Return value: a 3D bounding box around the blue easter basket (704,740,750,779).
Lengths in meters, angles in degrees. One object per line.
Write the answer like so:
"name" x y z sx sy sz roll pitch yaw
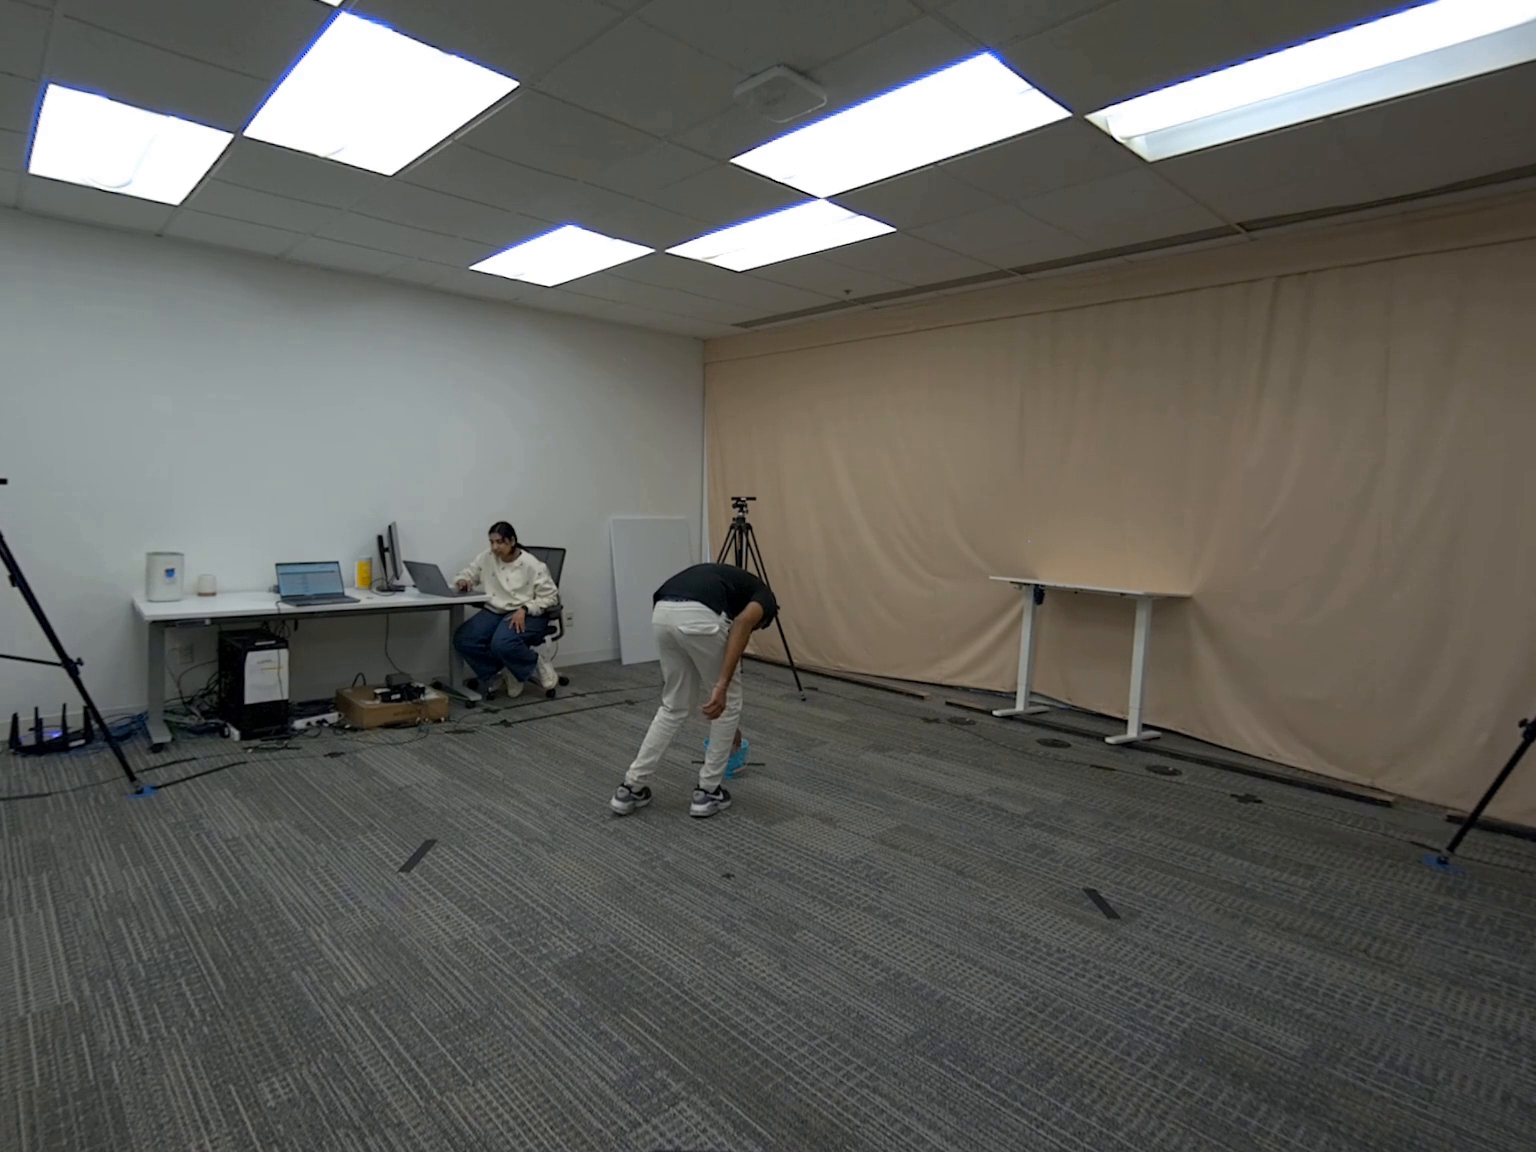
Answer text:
"blue easter basket" -0.231 0.923 4.291 0.243 0.155 0.244 1 4 -1
